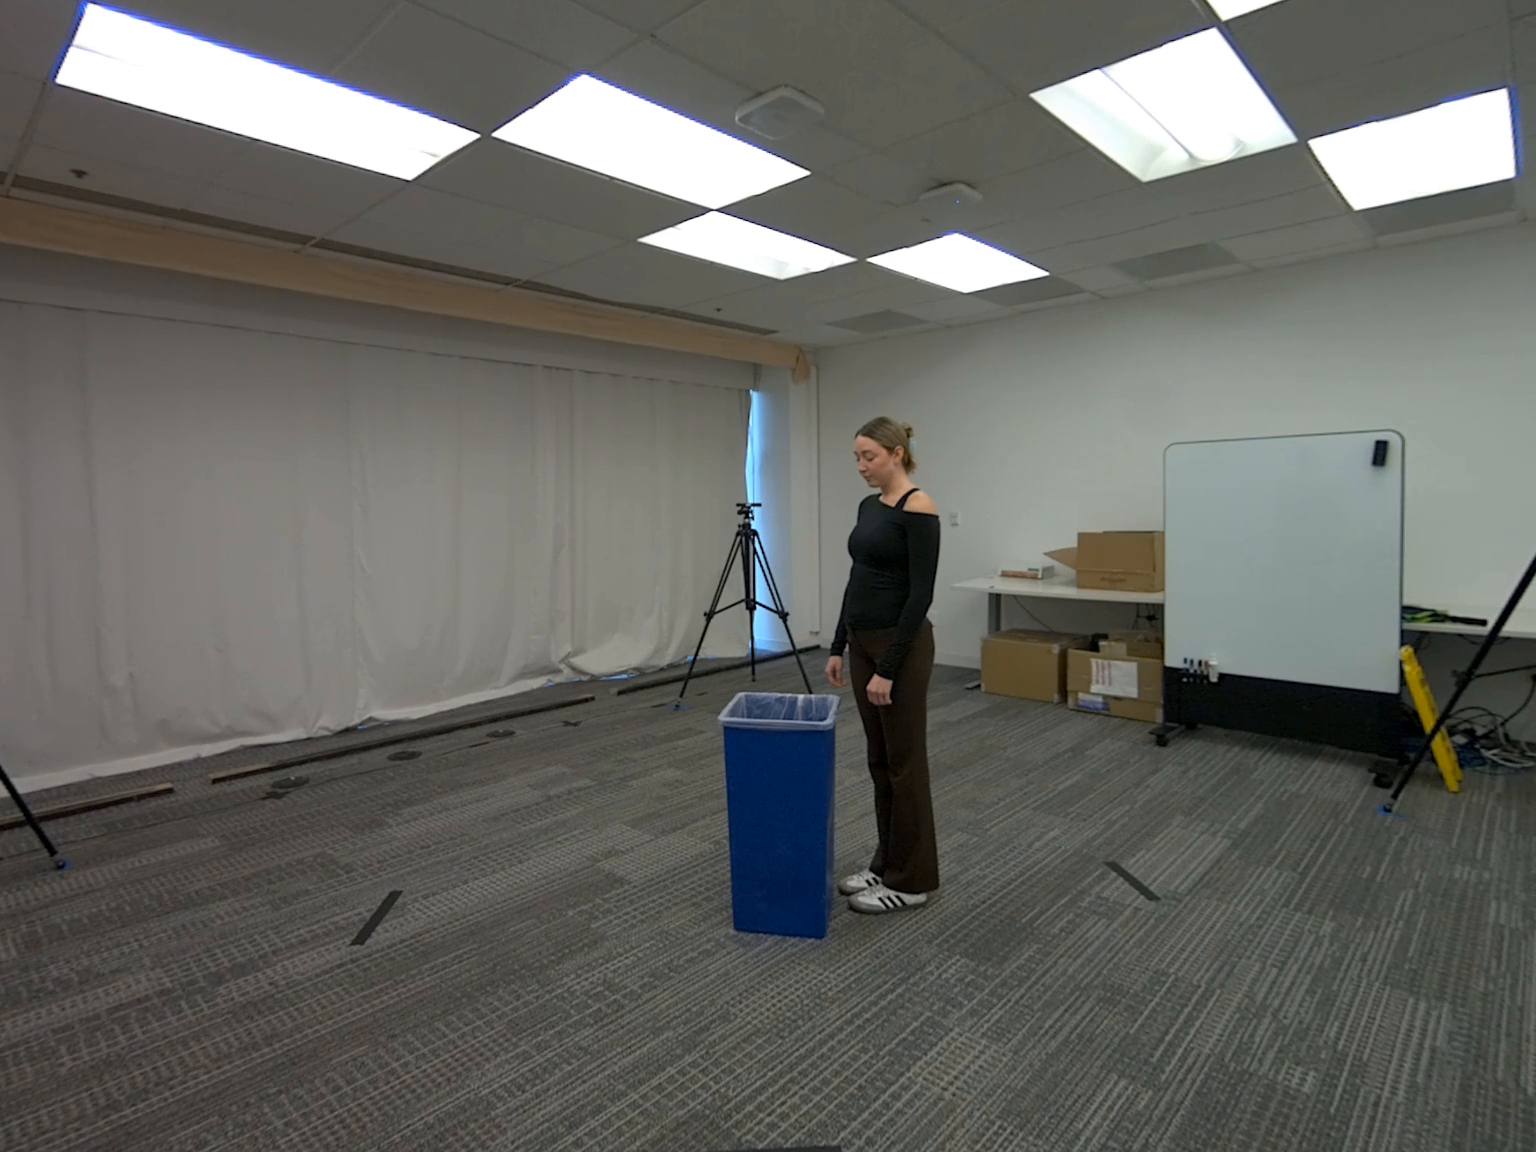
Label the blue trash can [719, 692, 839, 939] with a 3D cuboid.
[{"bbox_3d":[0.059,0.792,2.832,0.383,0.712,0.370,-1,3,11],"label":"blue trash can"}]
